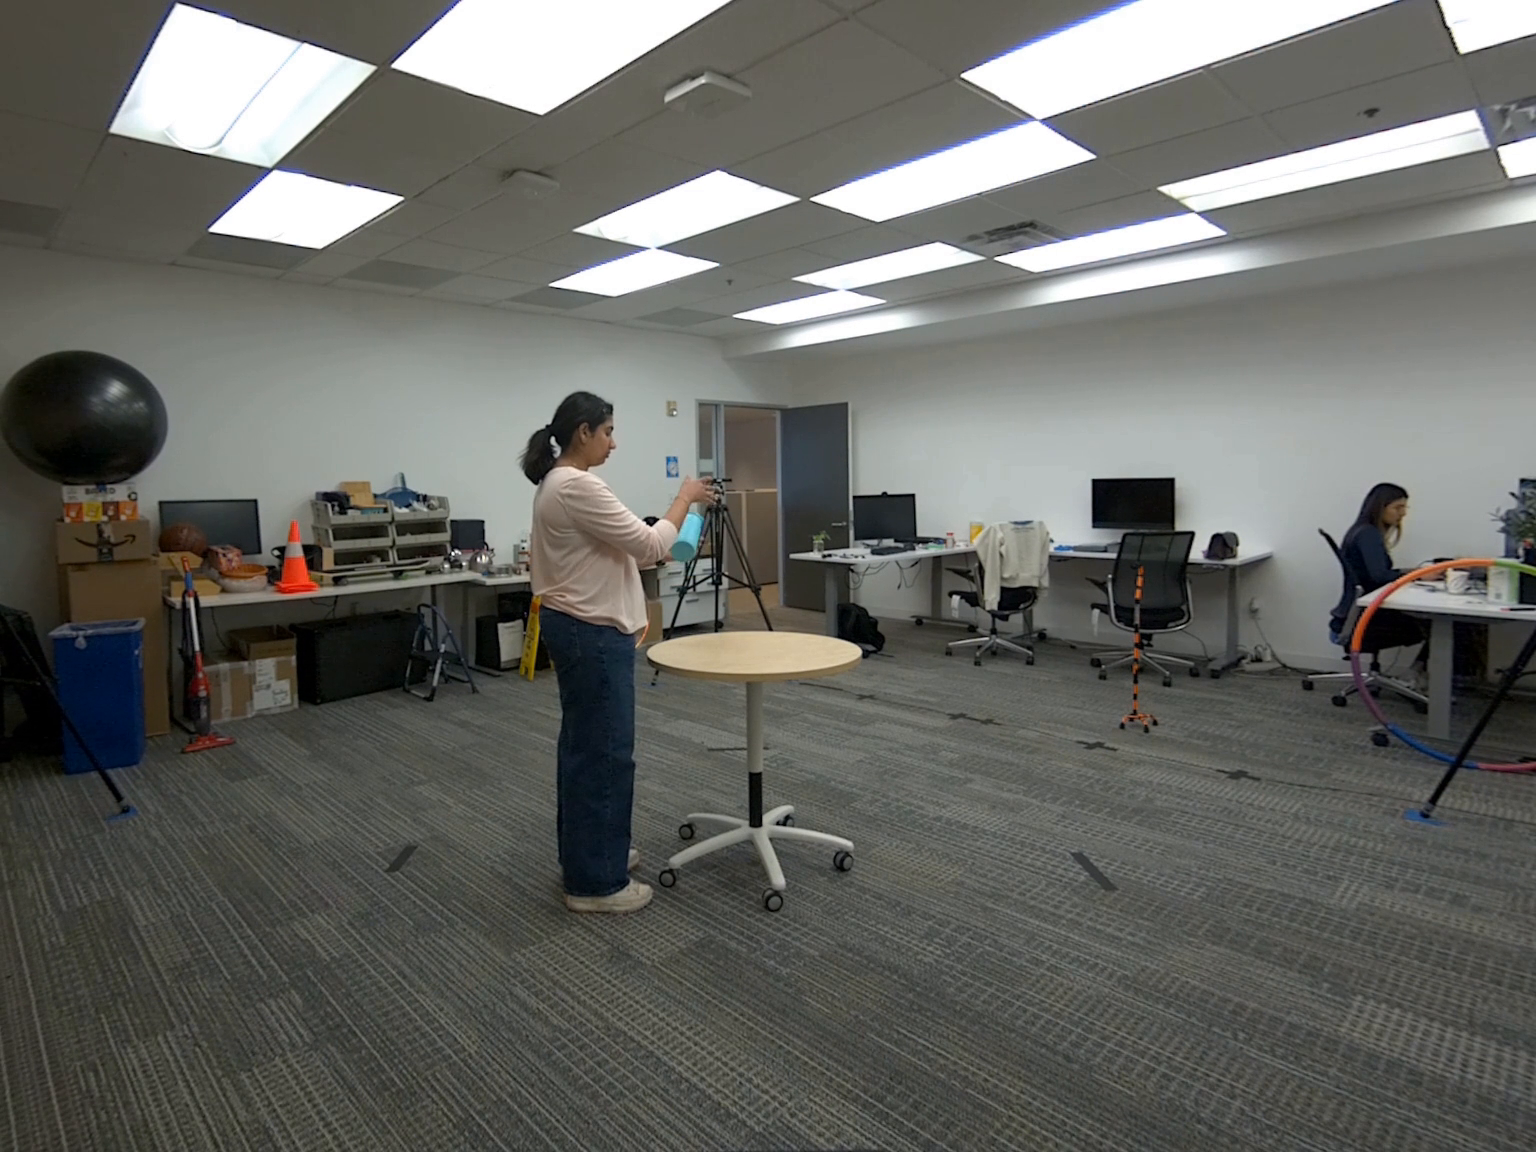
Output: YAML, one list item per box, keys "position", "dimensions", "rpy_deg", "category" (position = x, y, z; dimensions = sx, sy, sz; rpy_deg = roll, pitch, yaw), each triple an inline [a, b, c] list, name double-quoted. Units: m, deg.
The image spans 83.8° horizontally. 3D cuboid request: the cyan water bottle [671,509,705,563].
- position: [-0.282, -0.154, 3.112]
  dimensions: [0.093, 0.090, 0.287]
  rpy_deg: [-1, 28, 8]
  category: "cyan water bottle"
